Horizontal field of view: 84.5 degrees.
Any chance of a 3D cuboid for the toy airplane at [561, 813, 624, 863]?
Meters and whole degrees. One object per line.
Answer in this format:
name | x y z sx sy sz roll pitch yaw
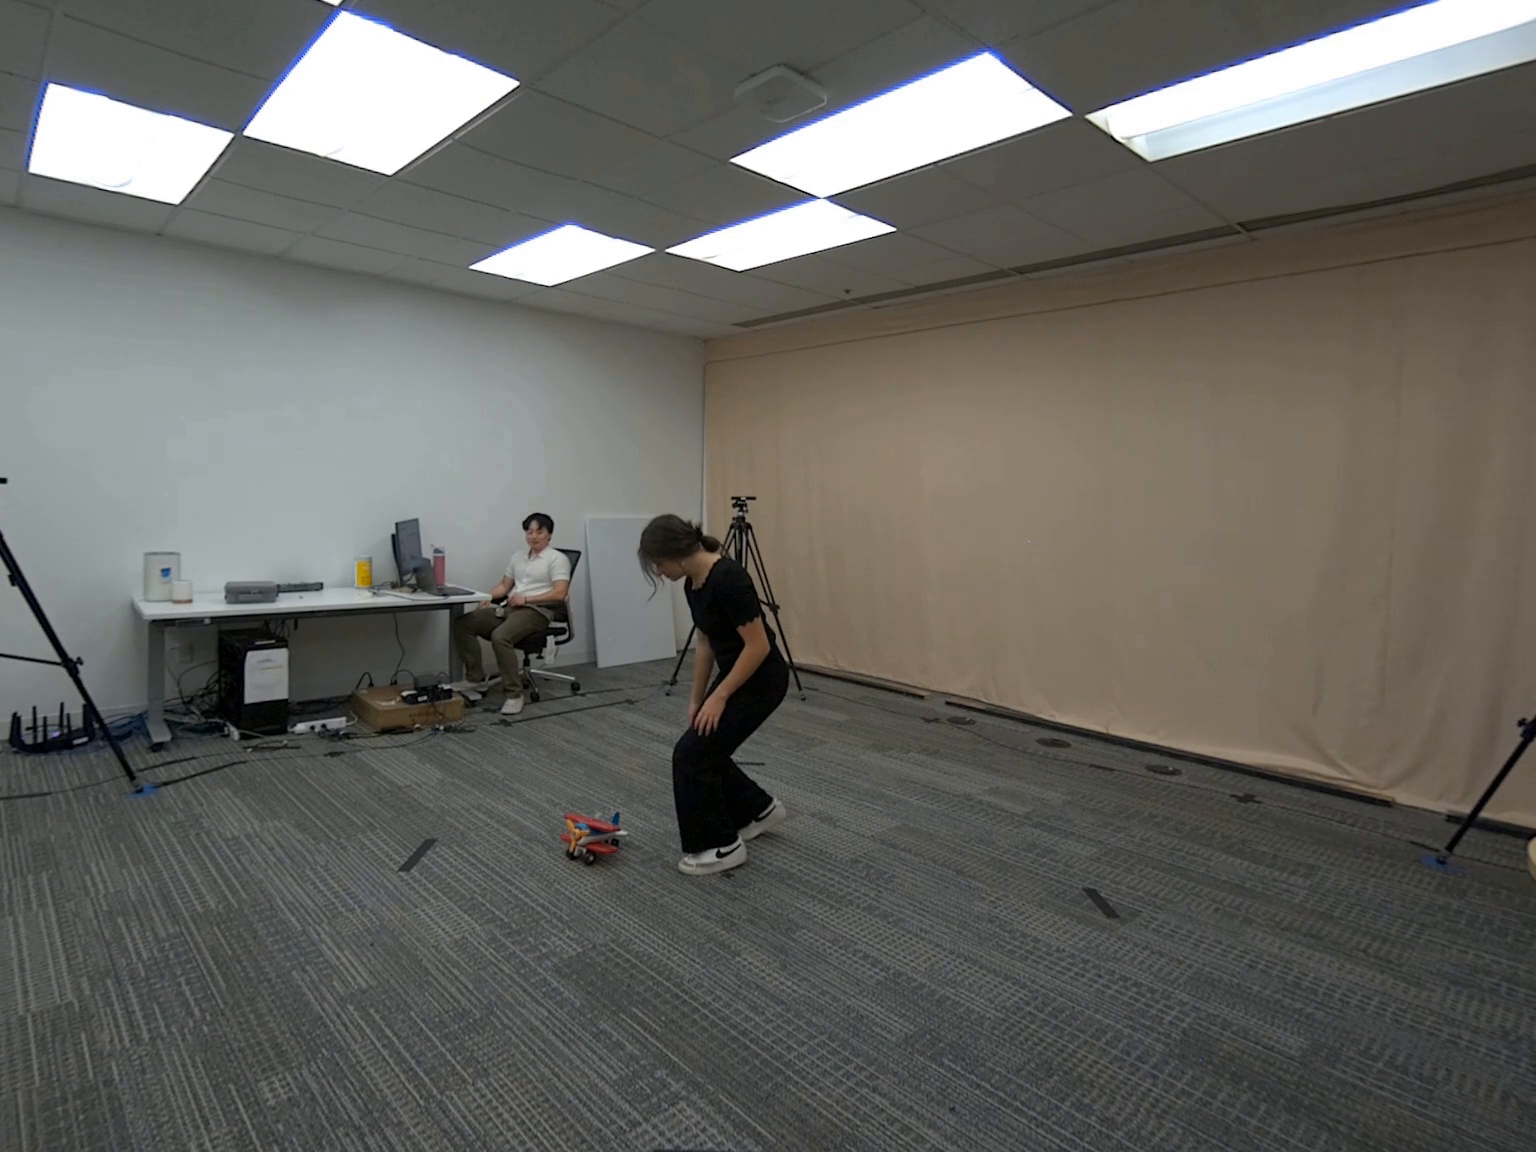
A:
toy airplane | -0.697 1.005 3.272 0.252 0.156 0.259 2 7 3
